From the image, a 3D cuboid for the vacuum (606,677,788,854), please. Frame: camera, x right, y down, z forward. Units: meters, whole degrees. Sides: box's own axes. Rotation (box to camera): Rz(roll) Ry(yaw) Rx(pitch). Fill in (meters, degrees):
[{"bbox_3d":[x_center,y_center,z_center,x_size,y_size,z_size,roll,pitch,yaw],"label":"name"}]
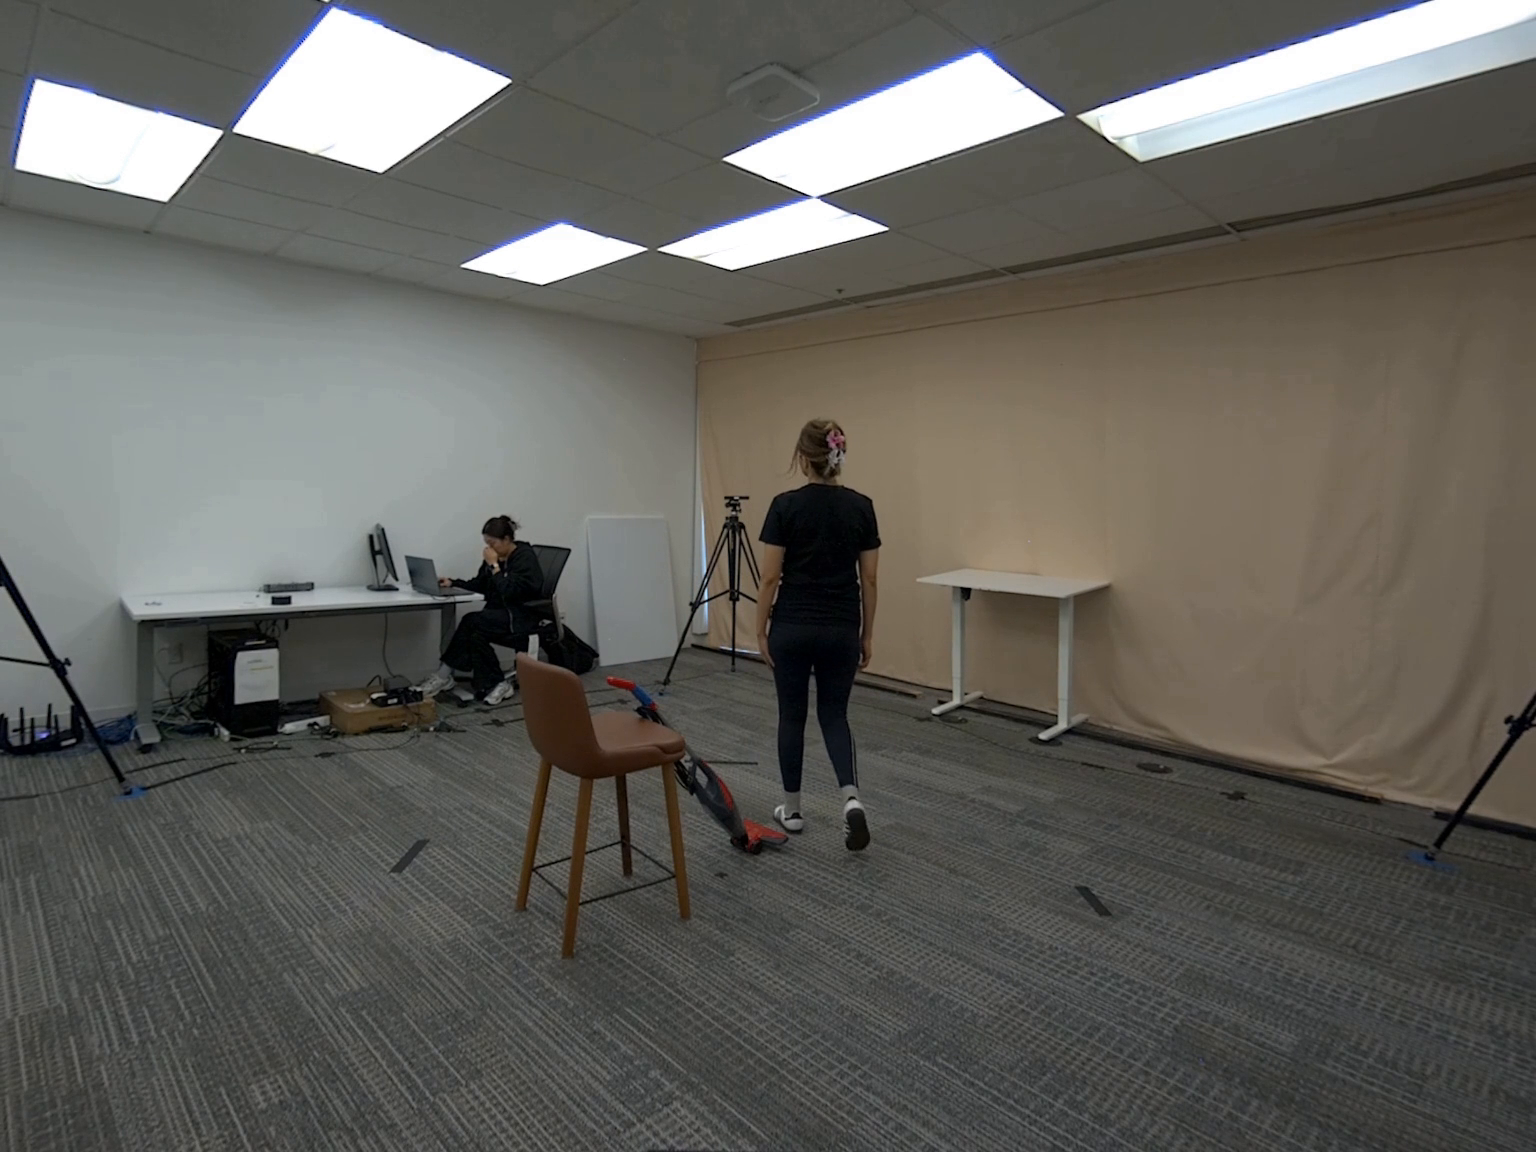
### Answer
[{"bbox_3d":[-0.294,0.703,3.094,0.259,1.019,0.144,4,48,43],"label":"vacuum"}]
